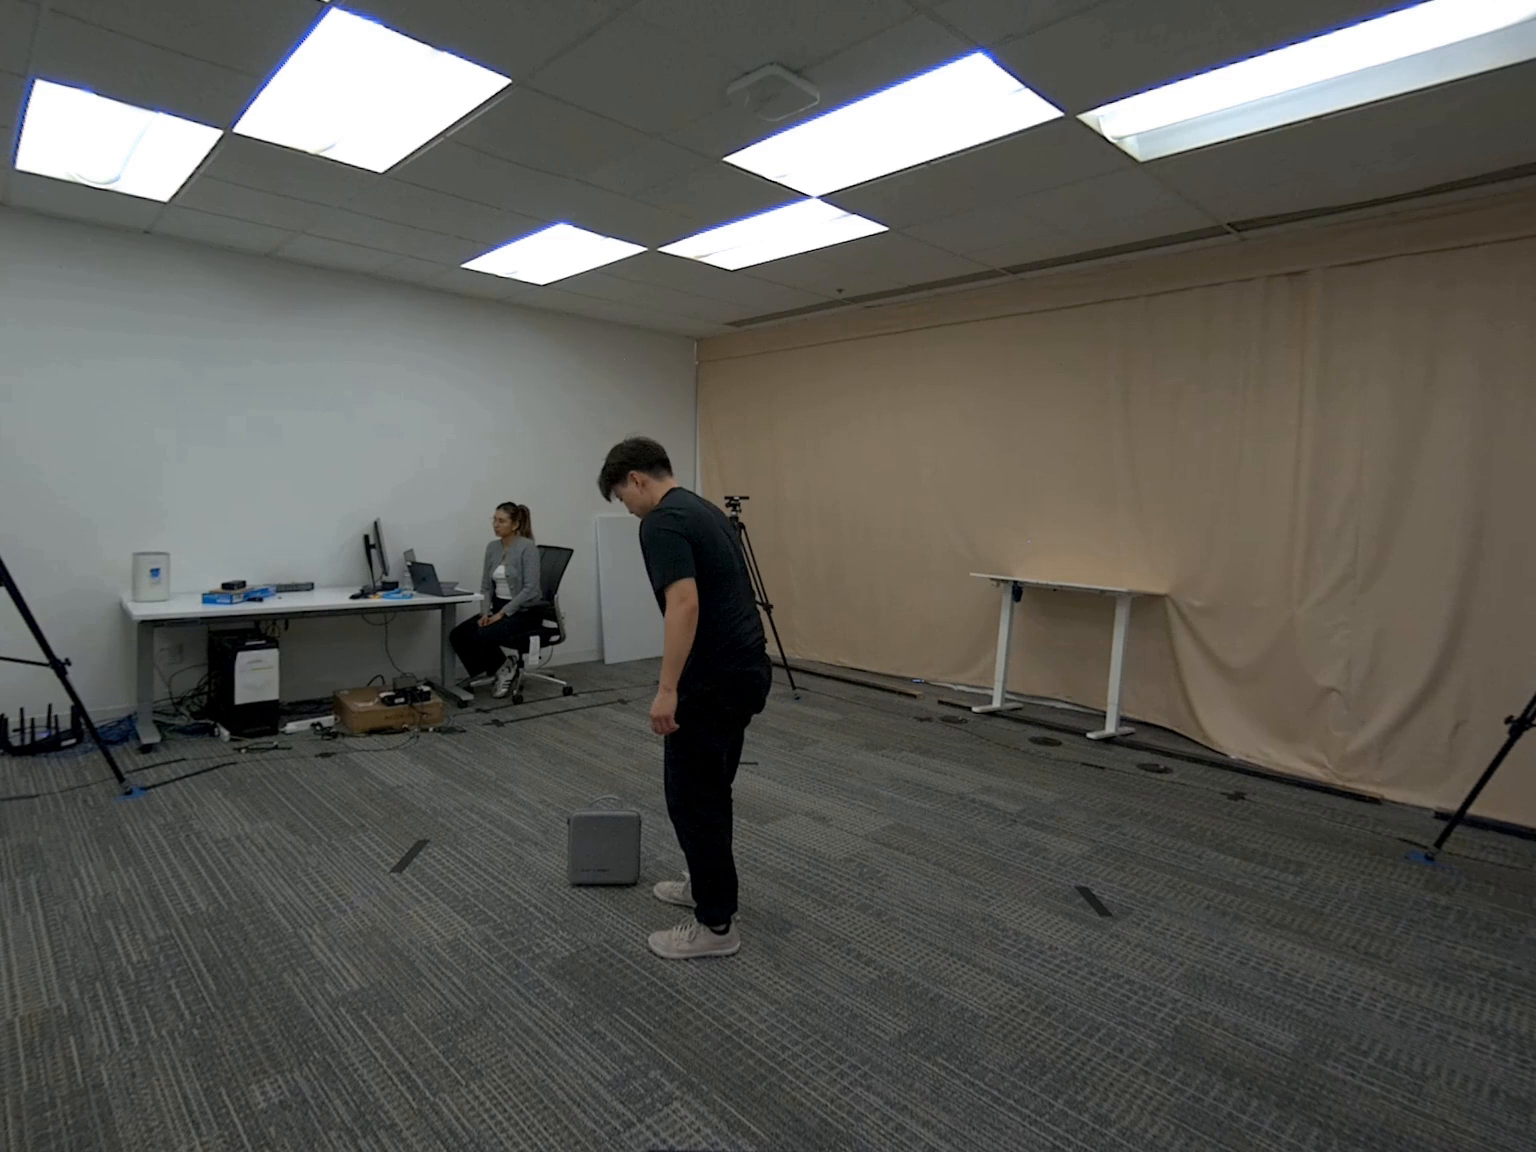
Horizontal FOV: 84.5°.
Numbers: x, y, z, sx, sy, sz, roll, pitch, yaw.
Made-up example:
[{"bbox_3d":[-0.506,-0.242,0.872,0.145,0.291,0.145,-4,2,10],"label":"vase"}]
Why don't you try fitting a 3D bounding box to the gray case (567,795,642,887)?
[{"bbox_3d":[-0.598,0.966,3.037,0.256,0.261,0.104,2,-5,-3],"label":"gray case"}]
